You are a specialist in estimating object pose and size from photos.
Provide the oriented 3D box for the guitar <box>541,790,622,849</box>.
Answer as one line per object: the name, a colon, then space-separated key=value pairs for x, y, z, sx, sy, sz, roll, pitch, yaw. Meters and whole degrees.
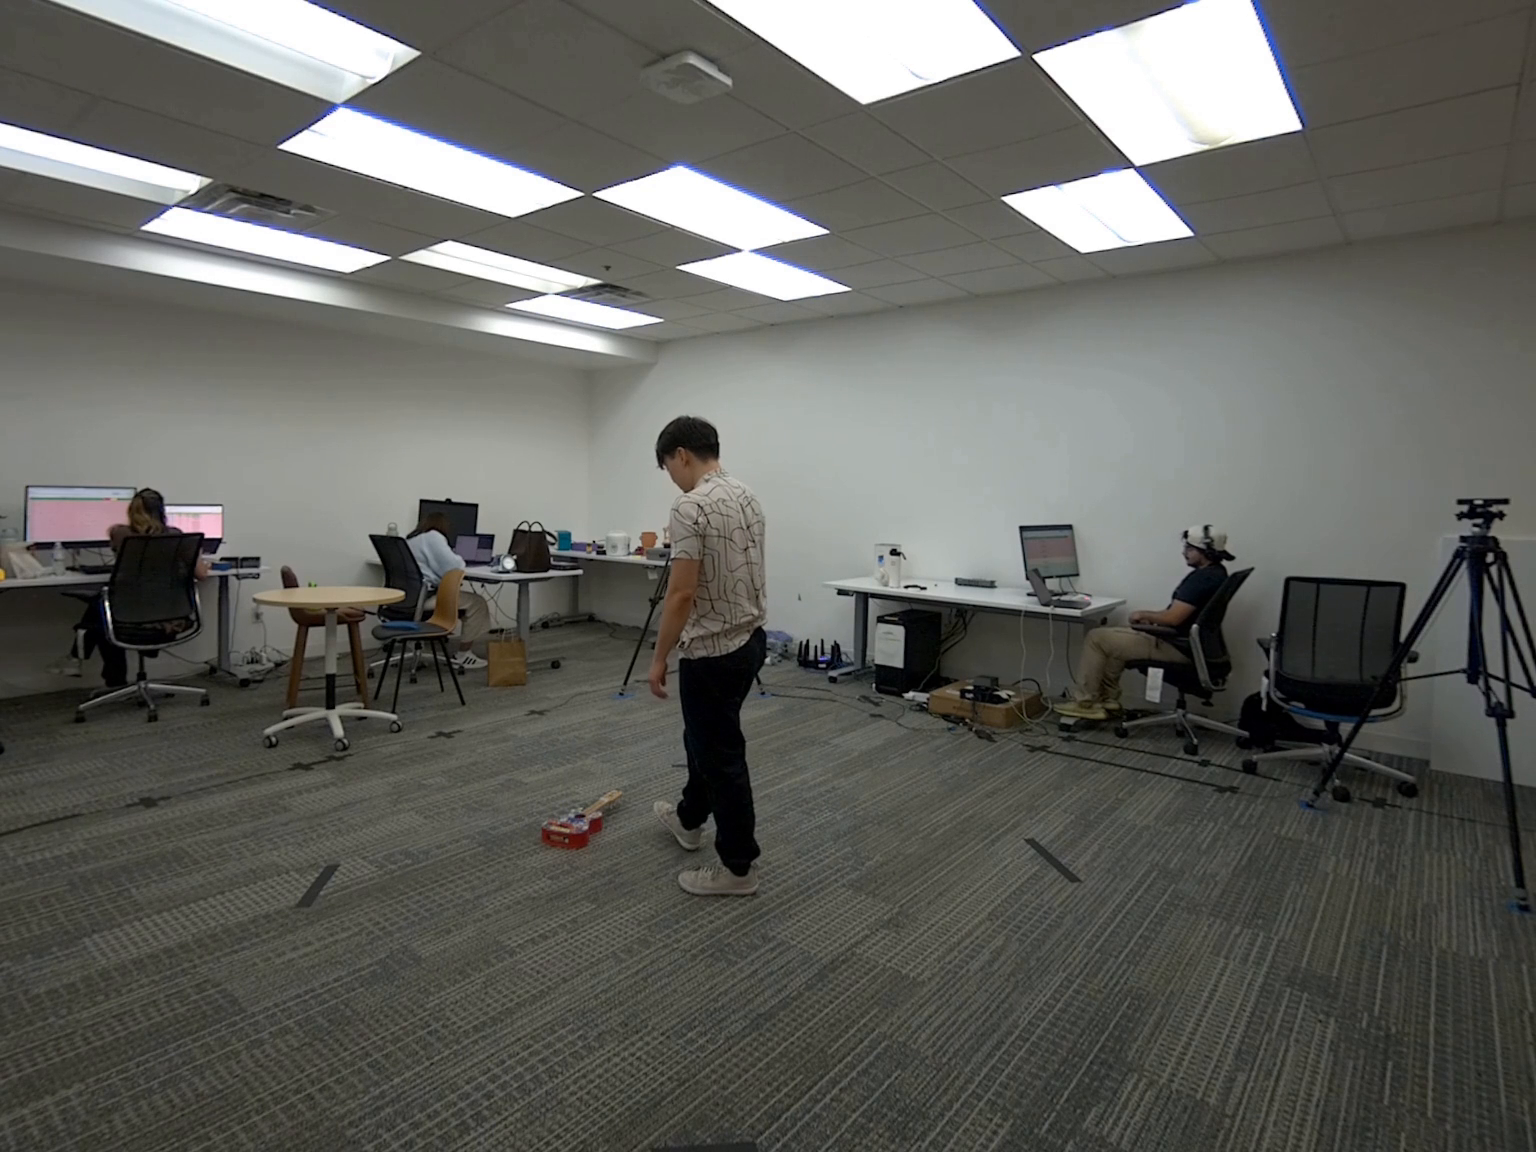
guitar: x=-0.722 y=0.988 z=3.496 sx=0.198 sy=0.070 sz=0.486 roll=4 pitch=6 yaw=27
